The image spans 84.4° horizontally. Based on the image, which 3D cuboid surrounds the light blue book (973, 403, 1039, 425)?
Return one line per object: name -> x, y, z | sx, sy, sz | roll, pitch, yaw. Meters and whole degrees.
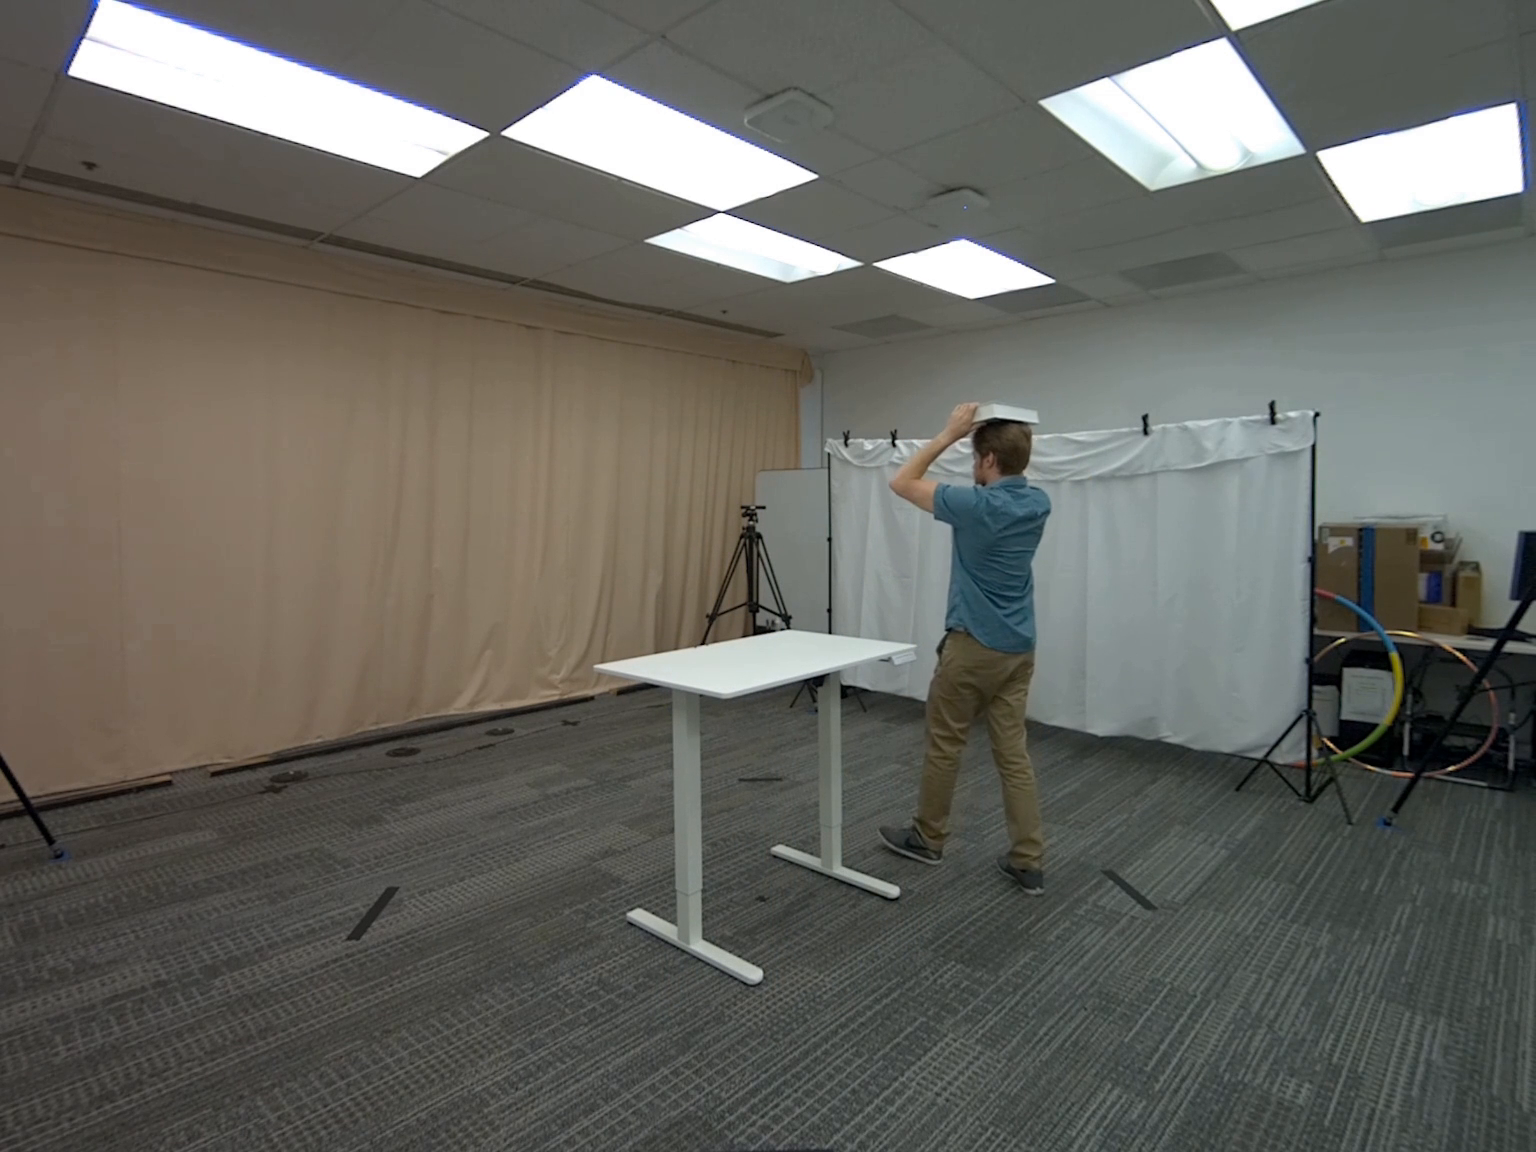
light blue book -> 0.843, -0.579, 3.096 | 0.253, 0.059, 0.197 | 0, -1, -35
